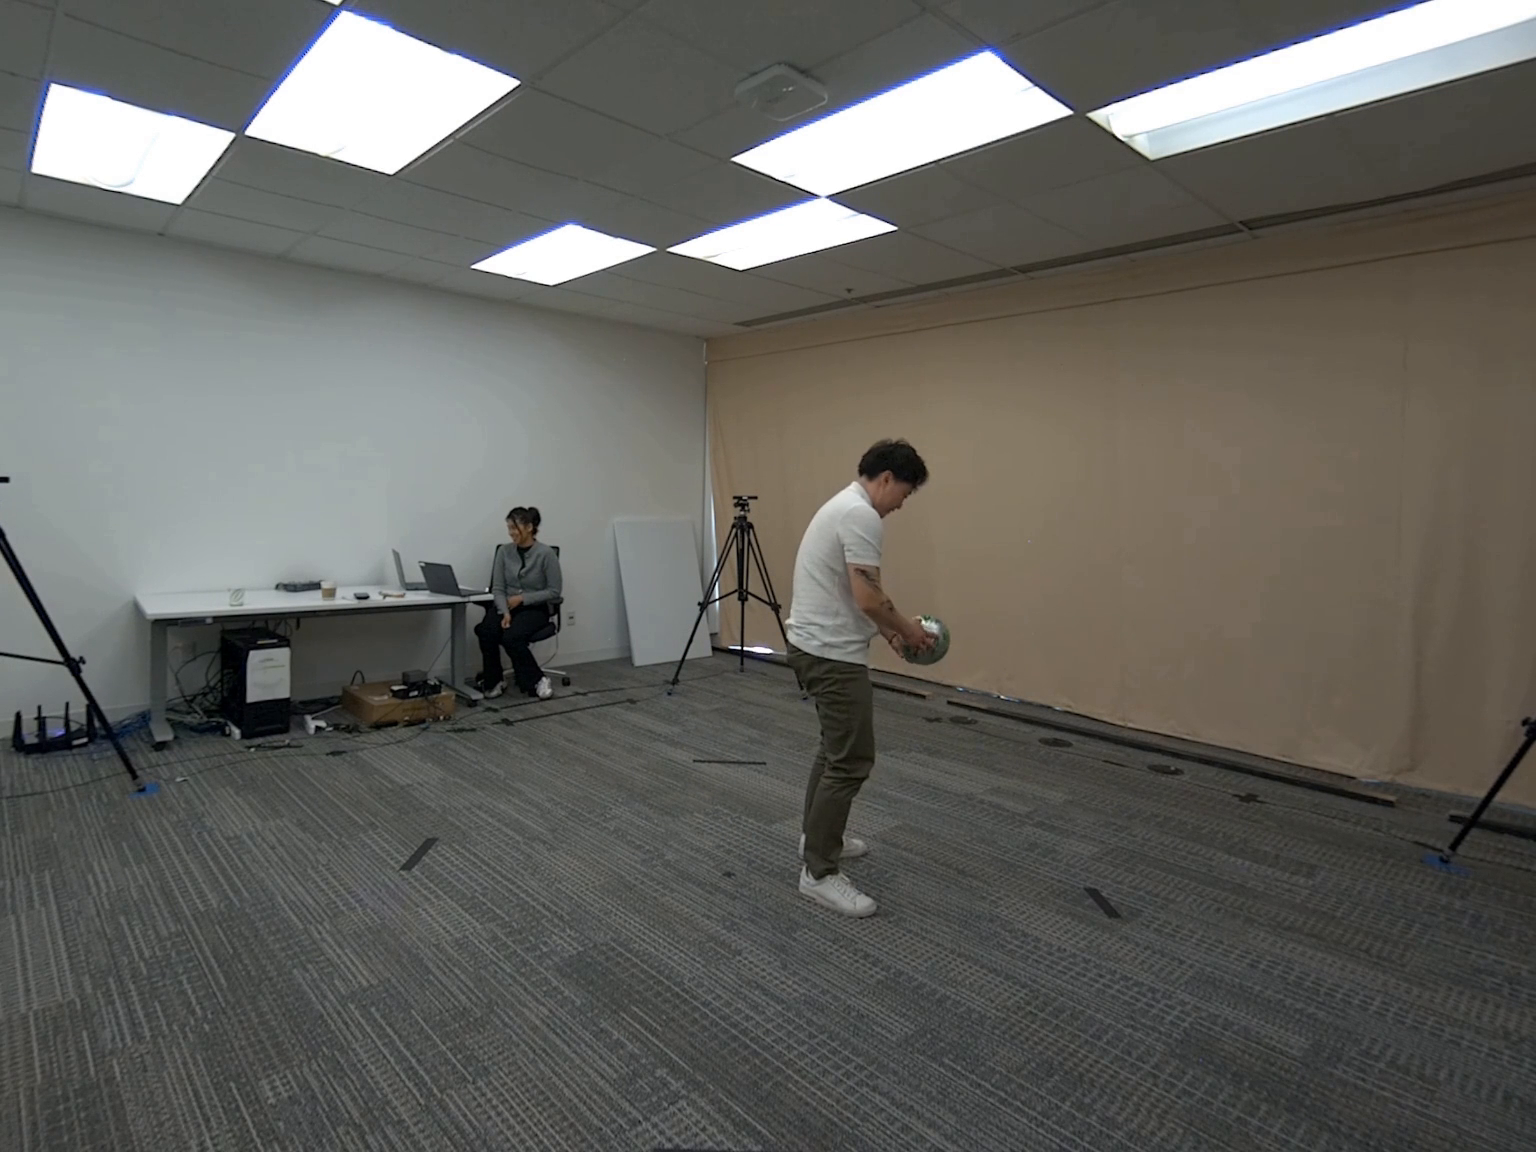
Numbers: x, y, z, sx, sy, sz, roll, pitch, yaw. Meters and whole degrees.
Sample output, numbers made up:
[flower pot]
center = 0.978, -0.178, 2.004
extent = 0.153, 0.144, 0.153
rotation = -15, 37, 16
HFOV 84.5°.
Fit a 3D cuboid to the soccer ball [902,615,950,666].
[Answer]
[soccer ball]
center = 0.572, 0.247, 3.141
extent = 0.187, 0.187, 0.188
rotation = 1, 4, -1
